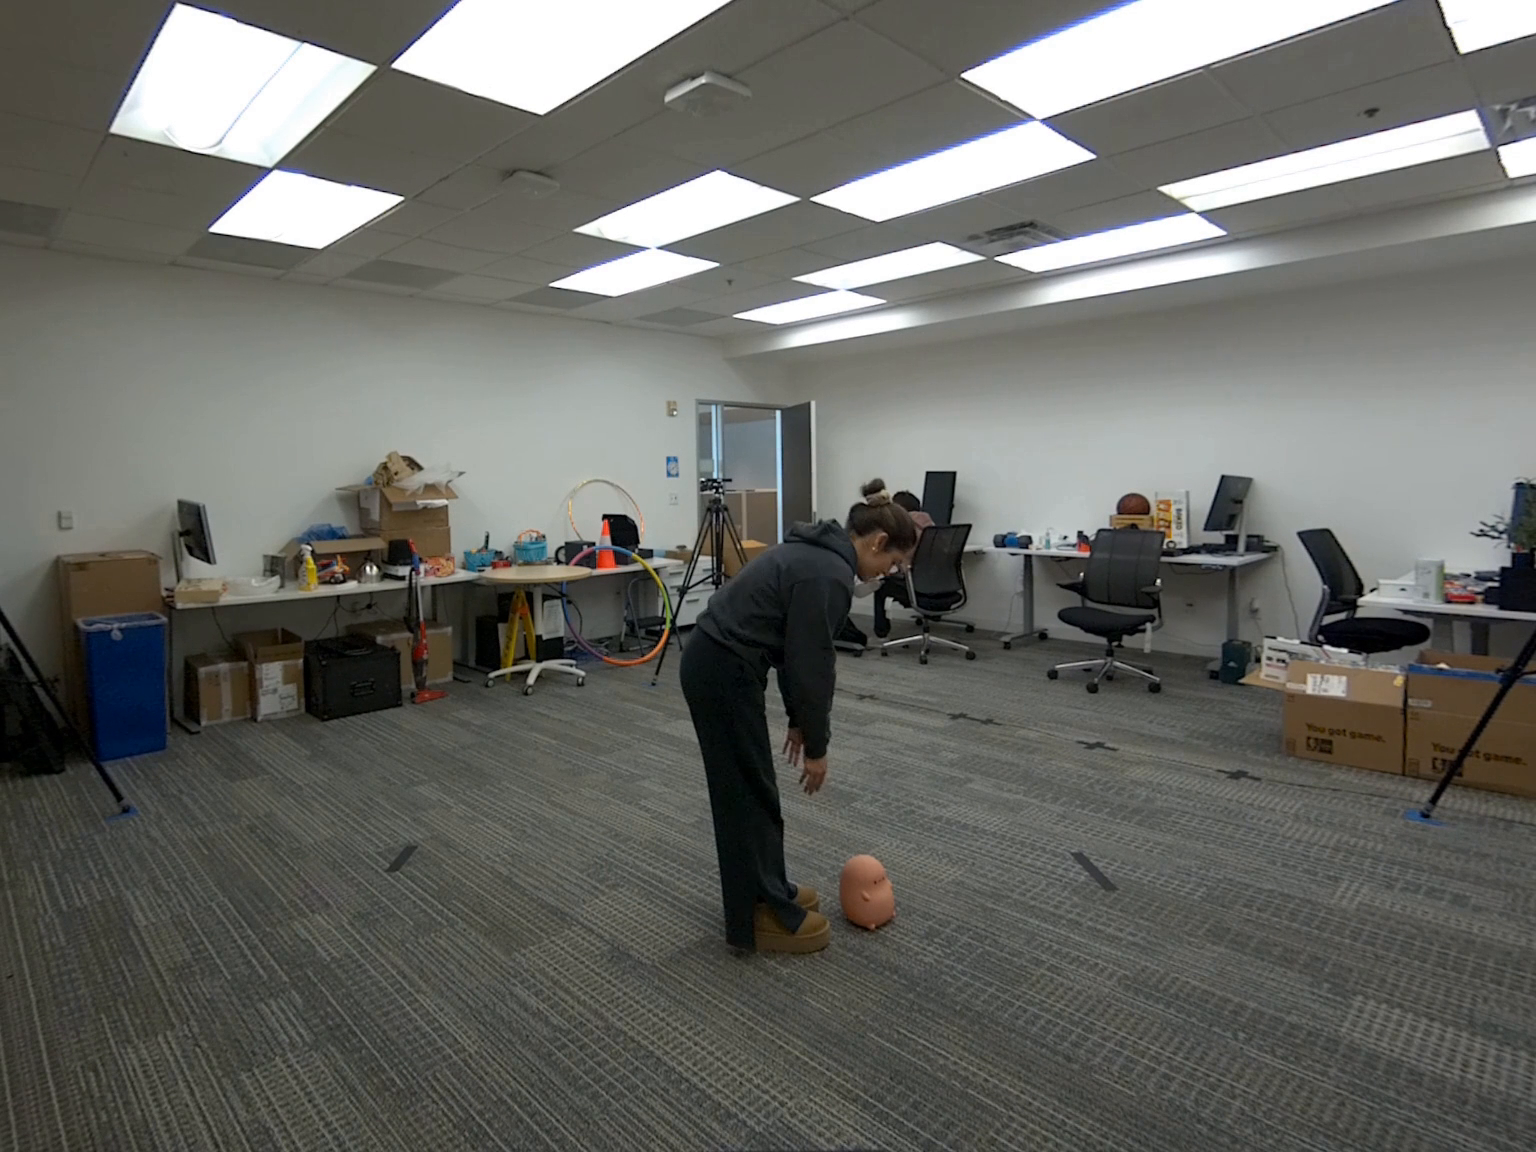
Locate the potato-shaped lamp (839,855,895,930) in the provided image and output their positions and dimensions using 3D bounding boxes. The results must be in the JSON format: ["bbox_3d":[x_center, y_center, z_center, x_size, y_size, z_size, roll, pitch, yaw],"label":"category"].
[{"bbox_3d":[0.306,0.981,2.683,0.160,0.197,0.177,-6,8,-38],"label":"potato-shaped lamp"}]
